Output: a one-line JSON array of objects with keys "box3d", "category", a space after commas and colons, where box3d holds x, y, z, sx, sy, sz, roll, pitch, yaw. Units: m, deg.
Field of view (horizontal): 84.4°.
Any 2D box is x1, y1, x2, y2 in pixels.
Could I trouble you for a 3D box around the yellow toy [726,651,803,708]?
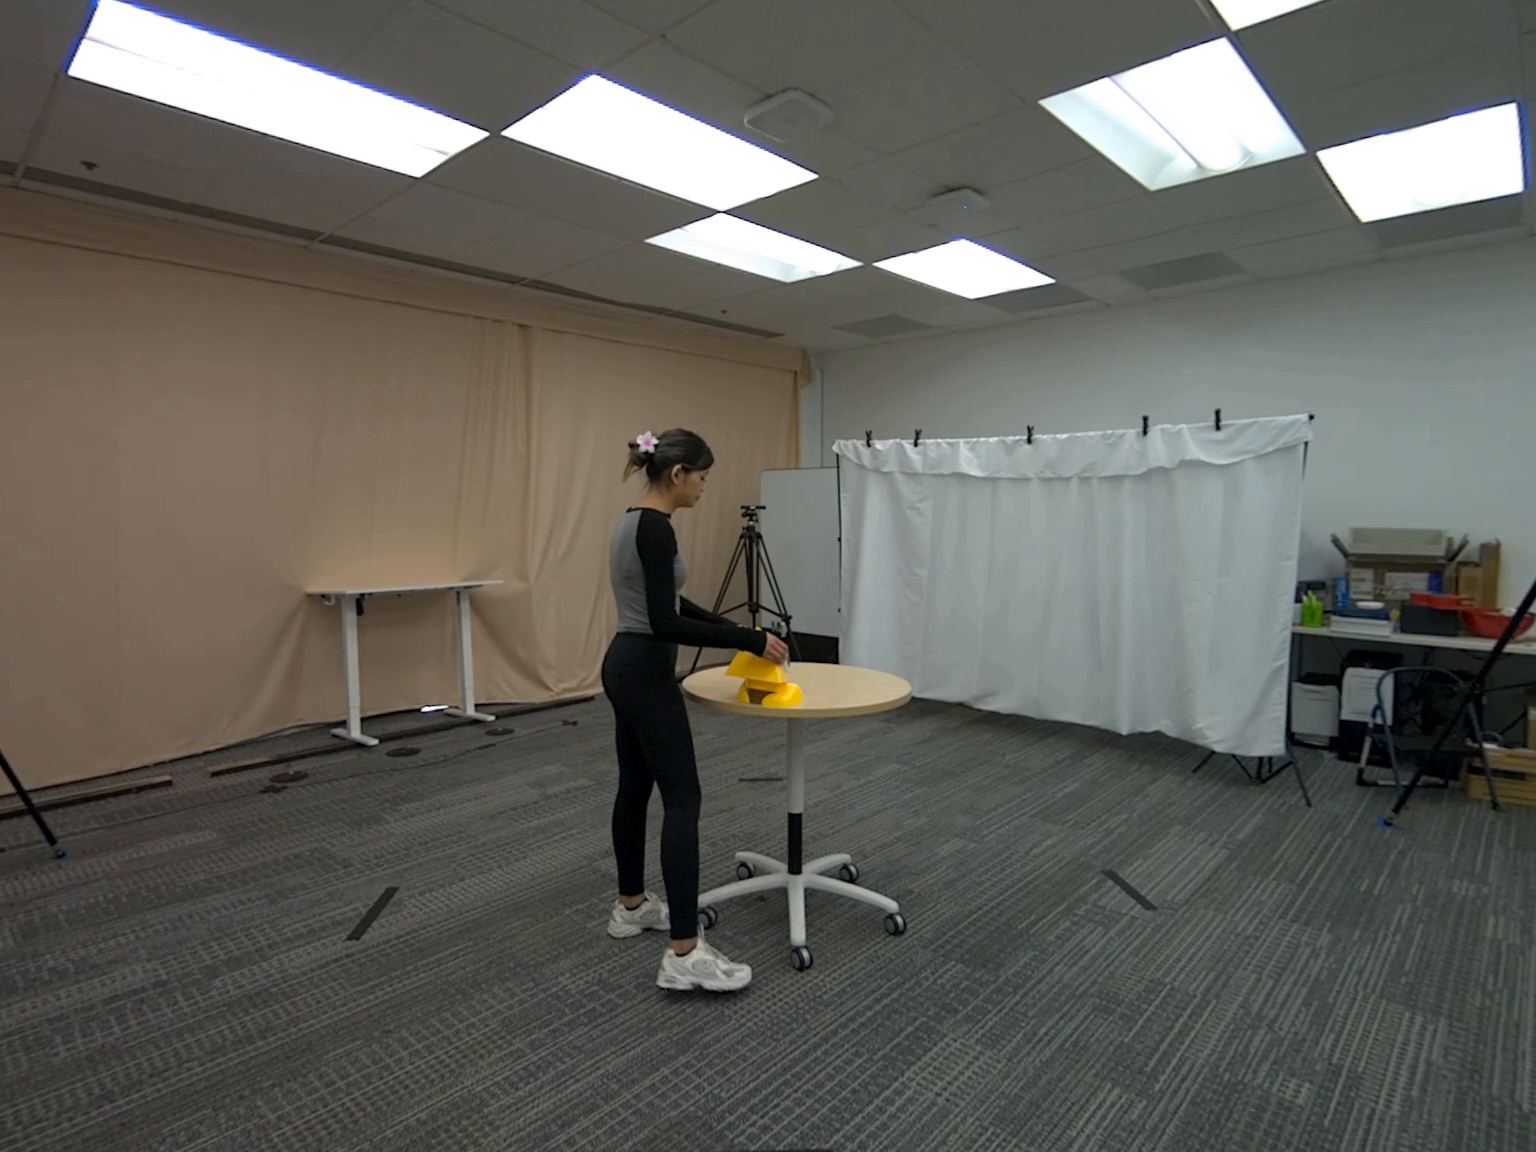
[{"box3d": [0.002, 0.269, 2.570, 0.211, 0.230, 0.187, 2, 3, 35], "category": "yellow toy"}]
